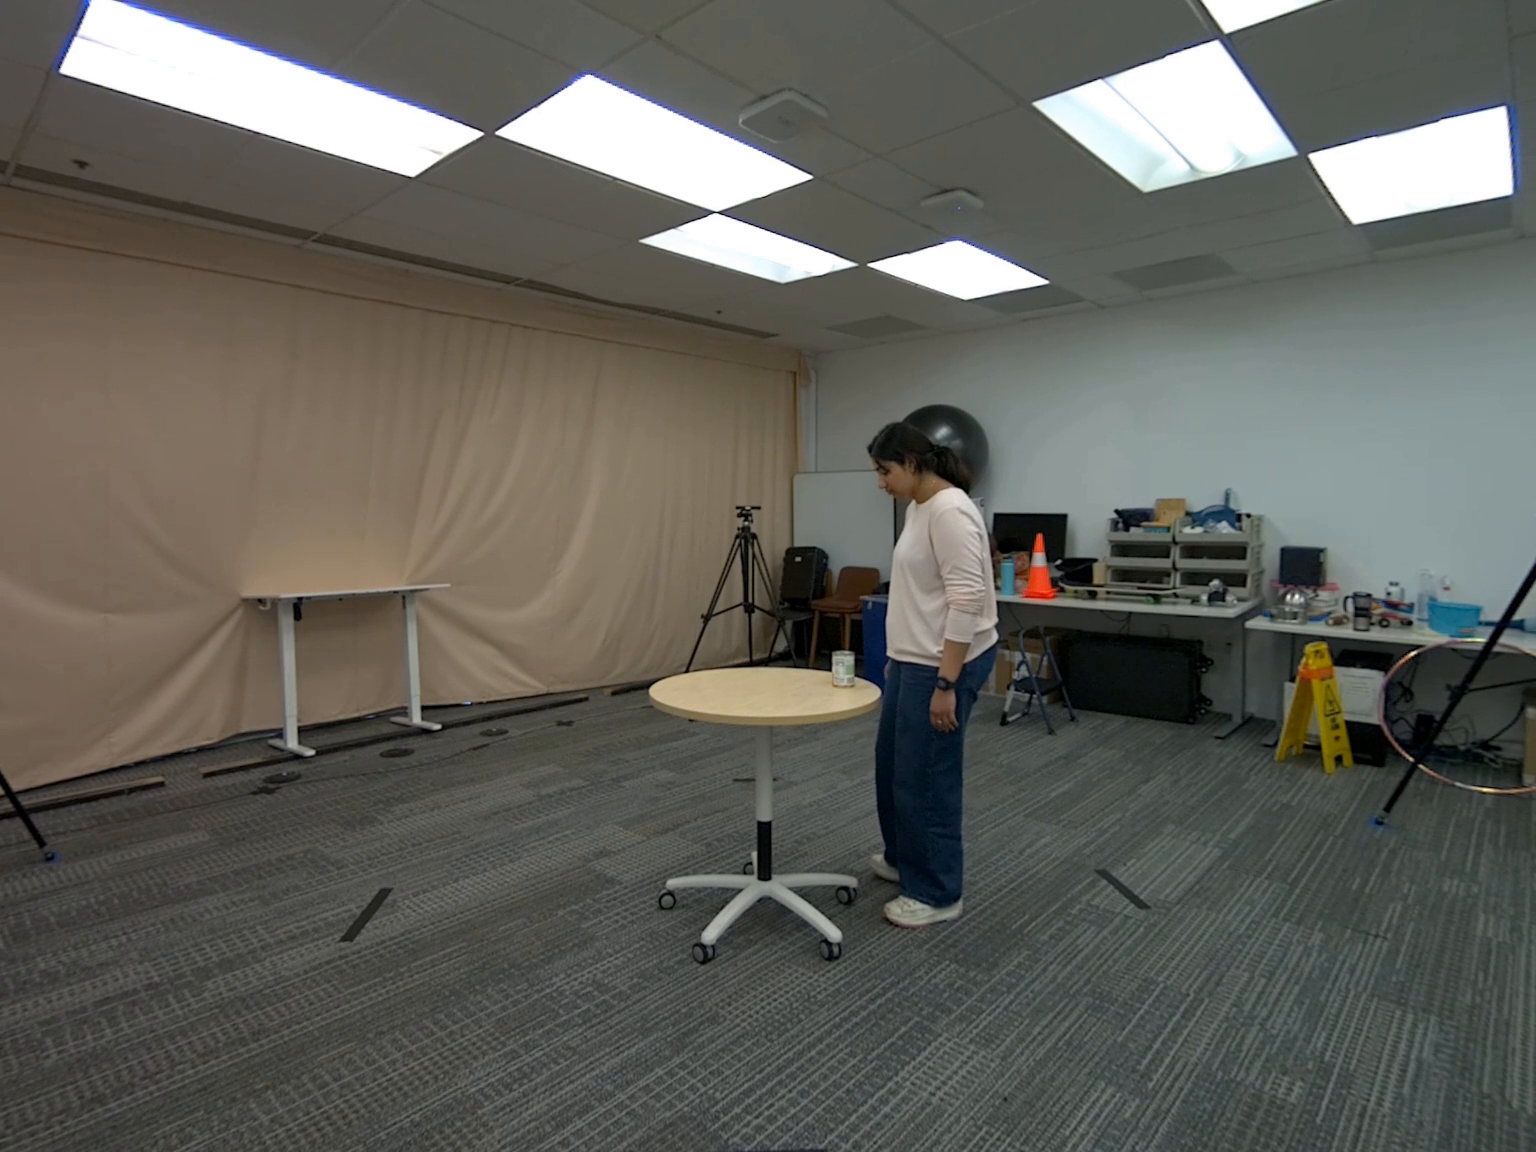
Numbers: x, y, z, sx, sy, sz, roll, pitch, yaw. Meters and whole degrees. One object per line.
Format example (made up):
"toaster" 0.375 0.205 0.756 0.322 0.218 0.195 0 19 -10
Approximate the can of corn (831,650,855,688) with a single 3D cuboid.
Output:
"can of corn" 0.263 0.320 2.832 0.074 0.111 0.074 1 4 -2
